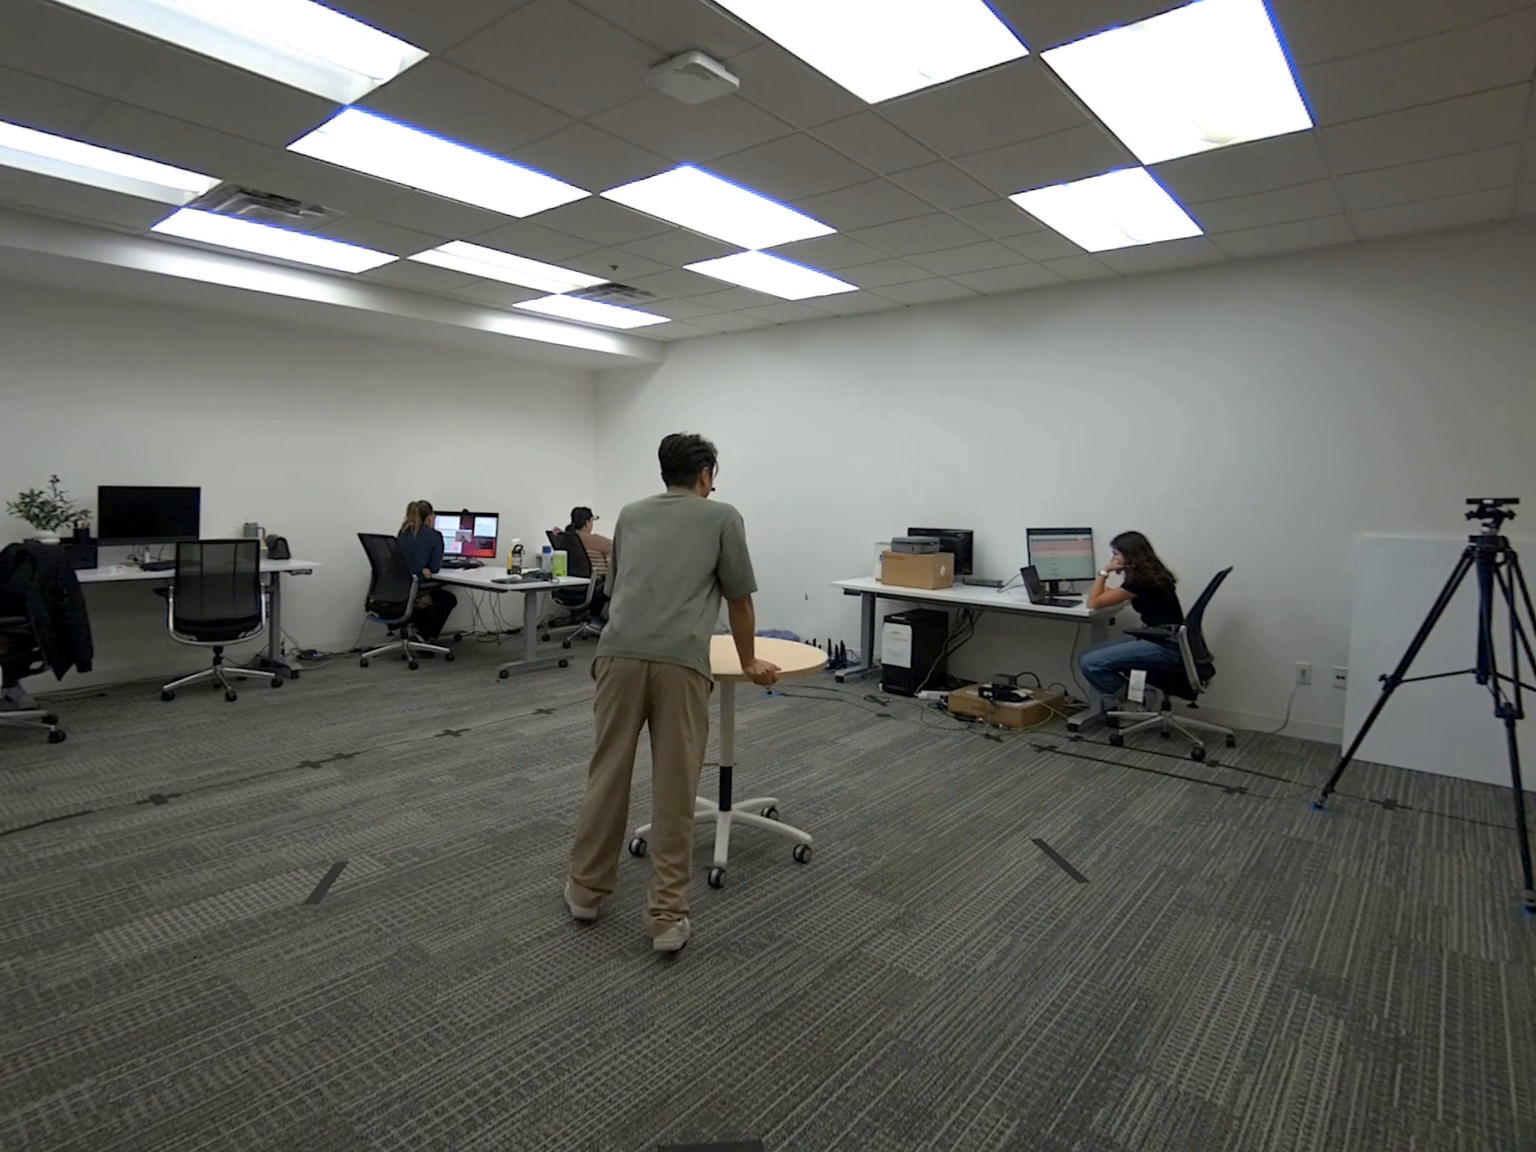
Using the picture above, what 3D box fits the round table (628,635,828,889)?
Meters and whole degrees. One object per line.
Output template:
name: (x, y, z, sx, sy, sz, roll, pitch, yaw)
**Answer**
round table: (-0.159, 0.669, 3.284, 0.784, 0.784, 0.789, 1, 4, -2)
